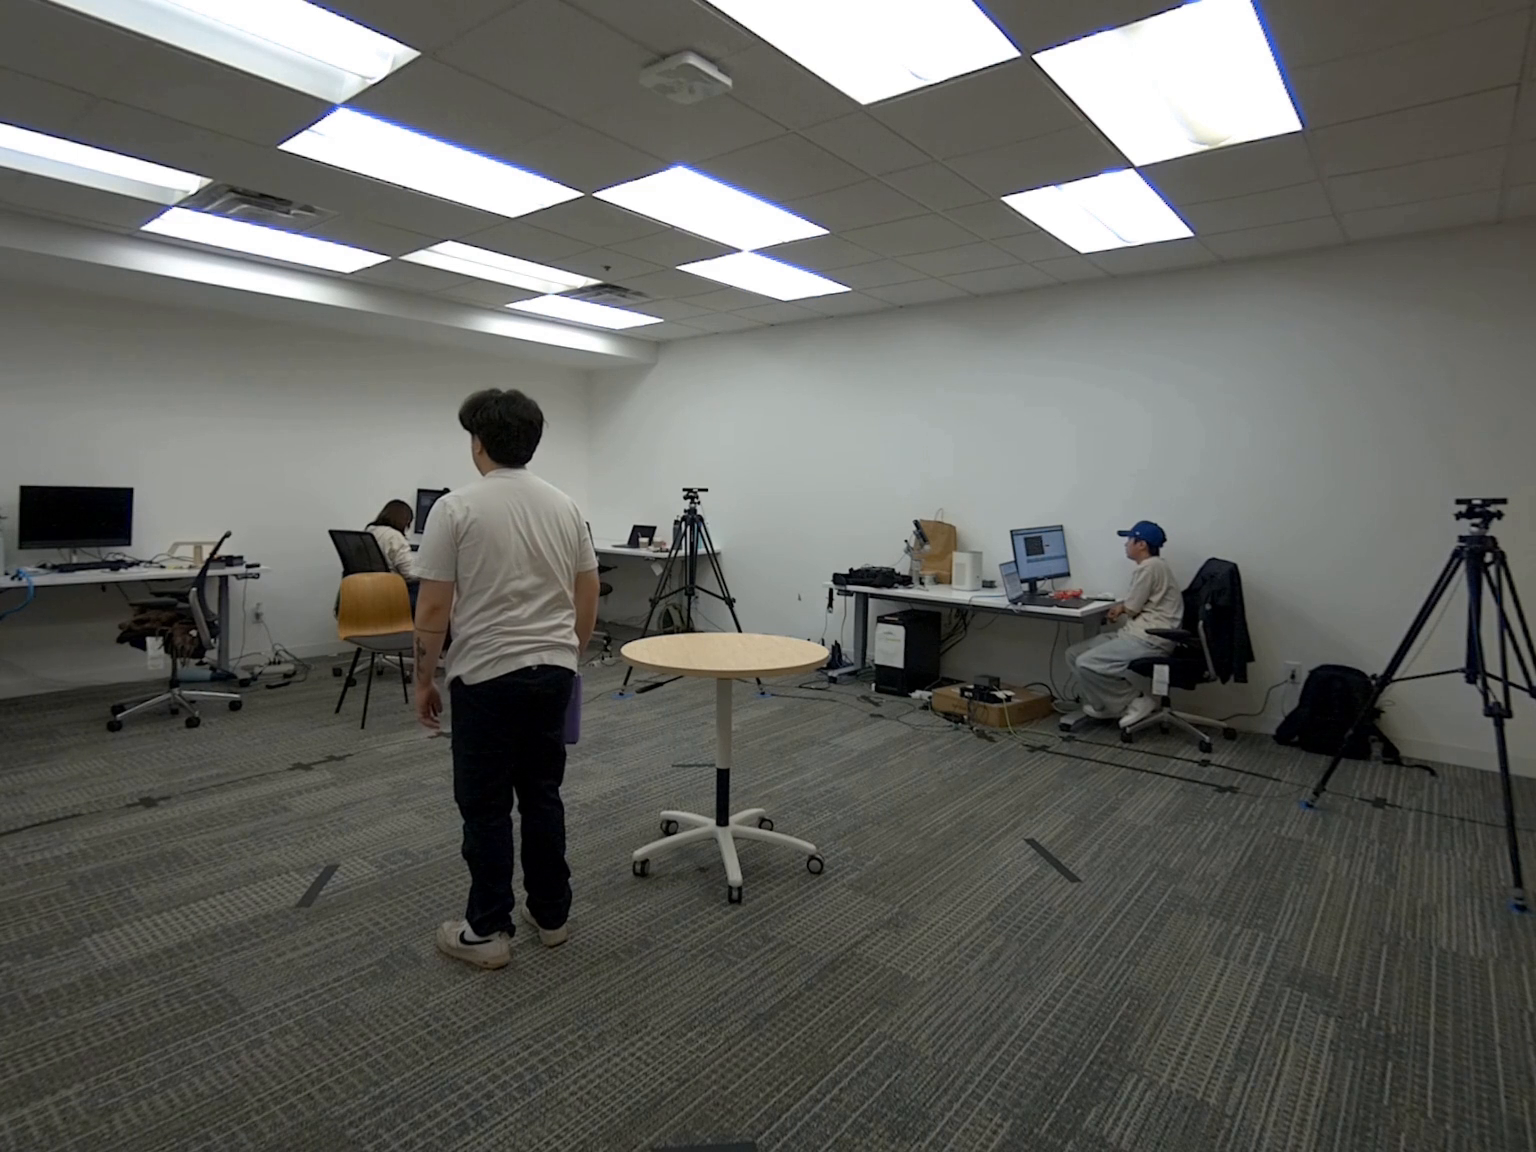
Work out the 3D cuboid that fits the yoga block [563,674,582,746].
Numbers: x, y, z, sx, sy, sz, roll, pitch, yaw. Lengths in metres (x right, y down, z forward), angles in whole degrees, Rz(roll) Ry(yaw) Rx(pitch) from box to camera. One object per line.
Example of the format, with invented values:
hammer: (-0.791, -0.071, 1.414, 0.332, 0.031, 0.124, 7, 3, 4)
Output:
yoga block: (-0.708, 0.441, 2.801, 0.149, 0.229, 0.076, 3, 1, 3)
